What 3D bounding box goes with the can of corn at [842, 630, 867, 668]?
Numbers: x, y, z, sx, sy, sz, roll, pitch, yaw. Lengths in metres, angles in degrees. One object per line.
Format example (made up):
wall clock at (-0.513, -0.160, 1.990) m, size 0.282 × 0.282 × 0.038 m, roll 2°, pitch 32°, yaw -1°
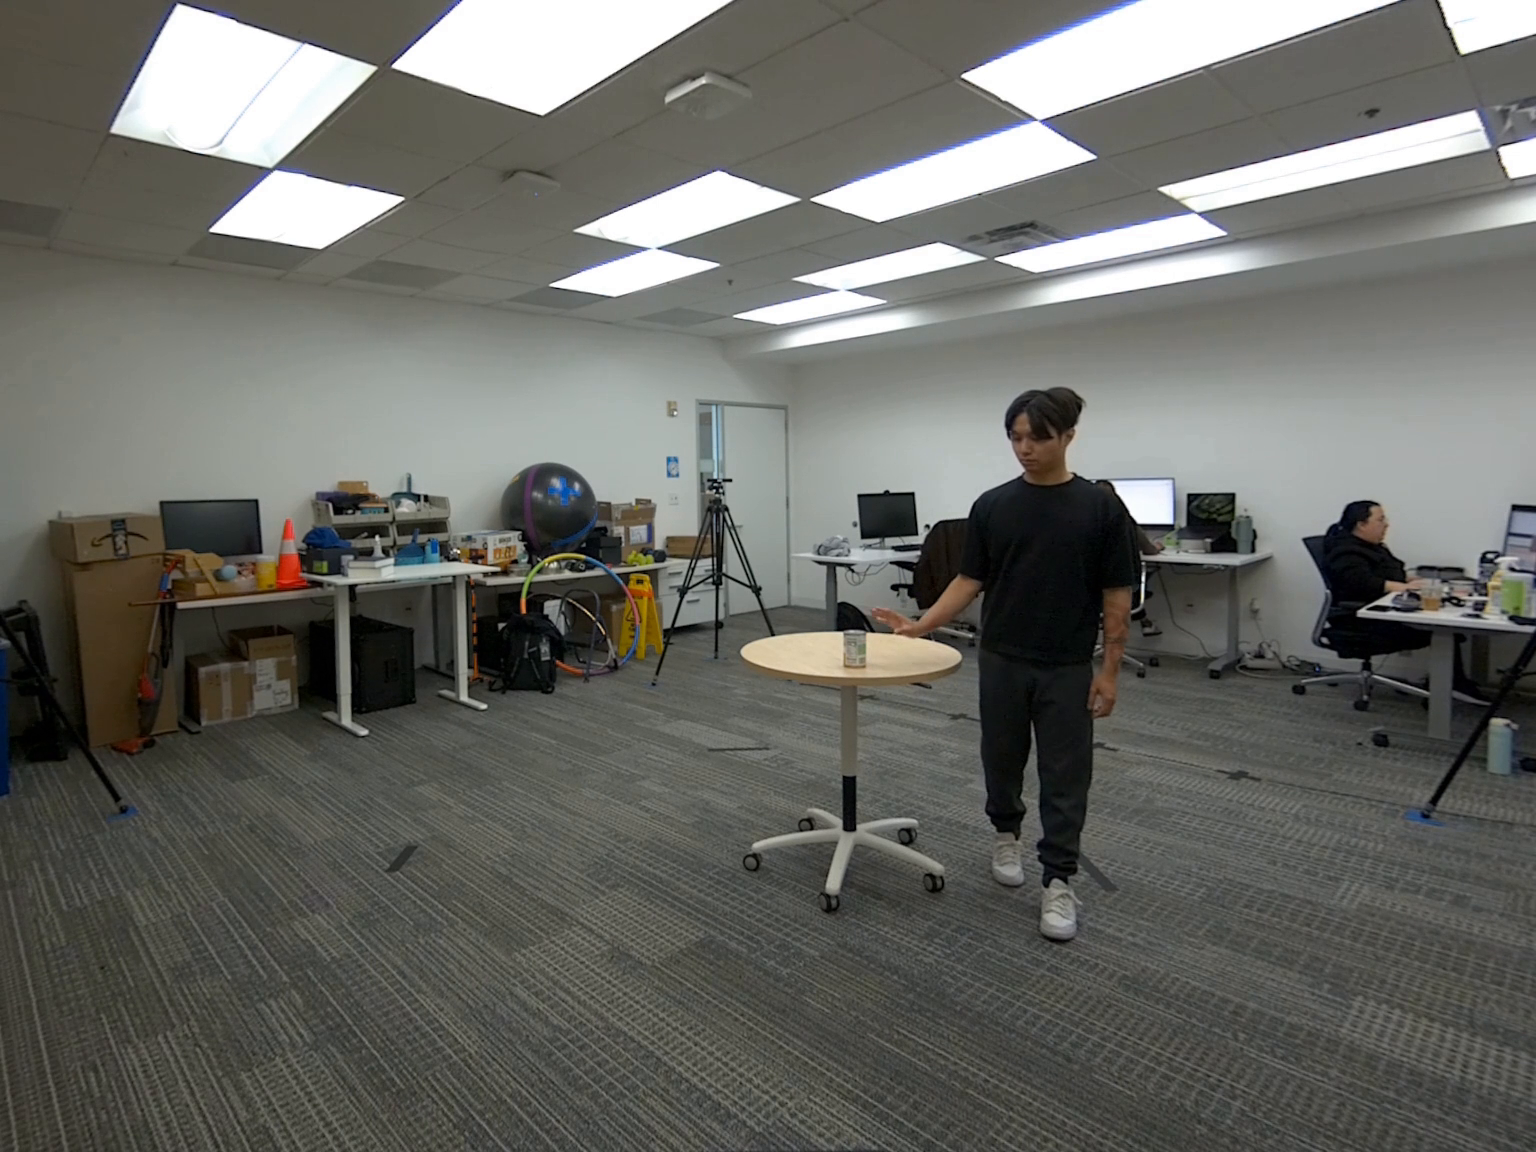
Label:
can of corn at (0.295, 0.236, 2.785) m, size 0.074 × 0.110 × 0.075 m, roll 1°, pitch 7°, yaw -2°
